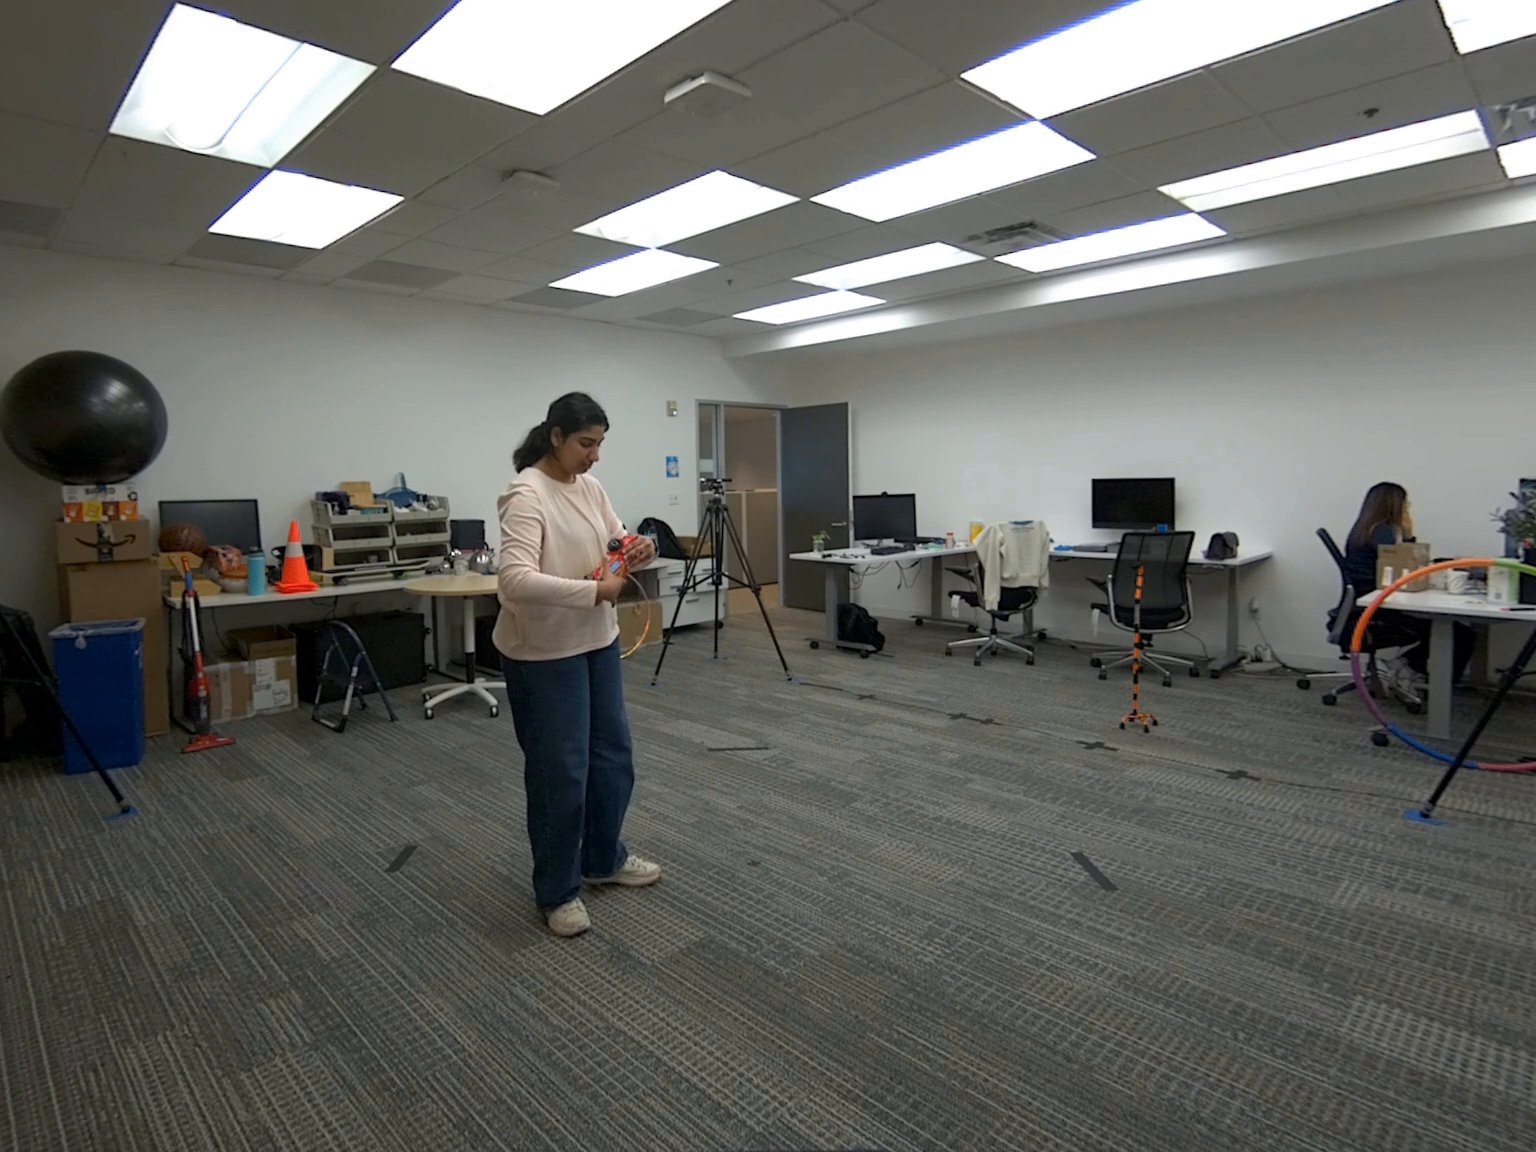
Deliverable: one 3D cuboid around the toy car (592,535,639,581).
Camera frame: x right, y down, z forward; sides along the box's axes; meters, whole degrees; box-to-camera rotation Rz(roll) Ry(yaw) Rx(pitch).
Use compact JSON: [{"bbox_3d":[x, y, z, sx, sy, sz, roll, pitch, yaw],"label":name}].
[{"bbox_3d":[-0.472,-0.025,2.638,0.086,0.254,0.126,45,-8,32],"label":"toy car"}]
